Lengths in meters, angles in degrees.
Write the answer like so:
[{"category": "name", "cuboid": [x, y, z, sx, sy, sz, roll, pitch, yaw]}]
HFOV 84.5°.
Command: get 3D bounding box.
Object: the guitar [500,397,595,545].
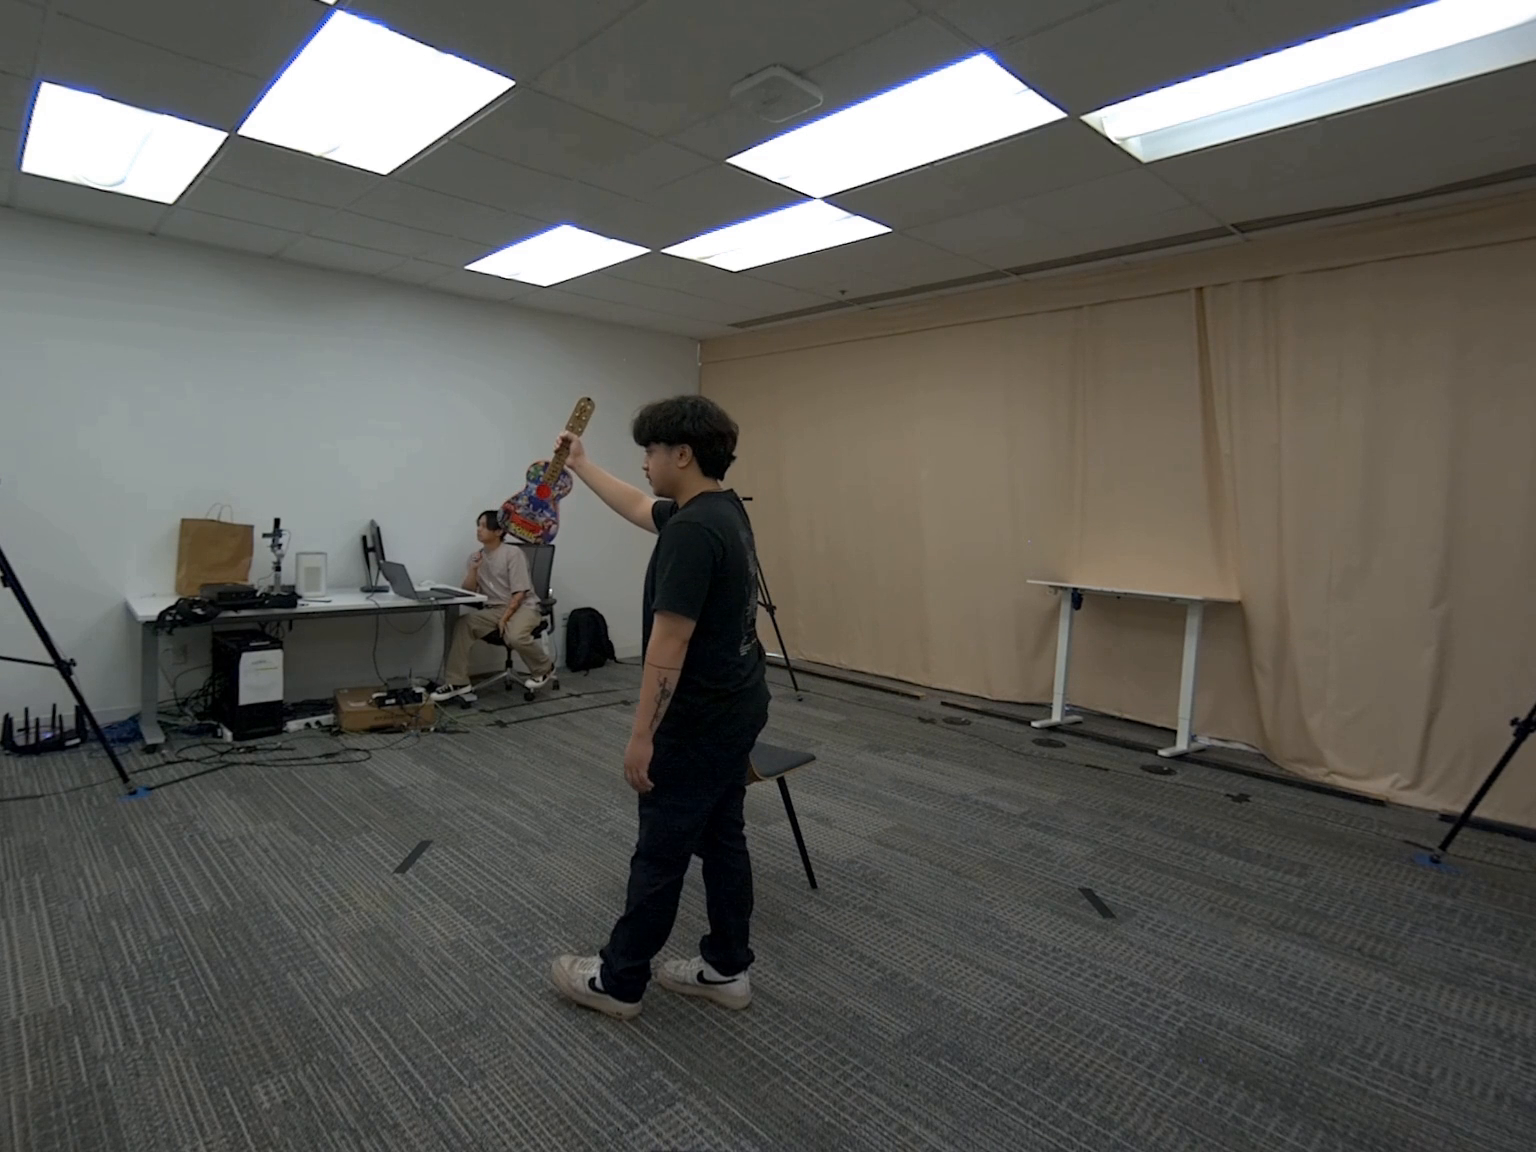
[{"category": "guitar", "cuboid": [-0.657, -0.324, 2.662, 0.191, 0.497, 0.071, 36, 3, -9]}]
